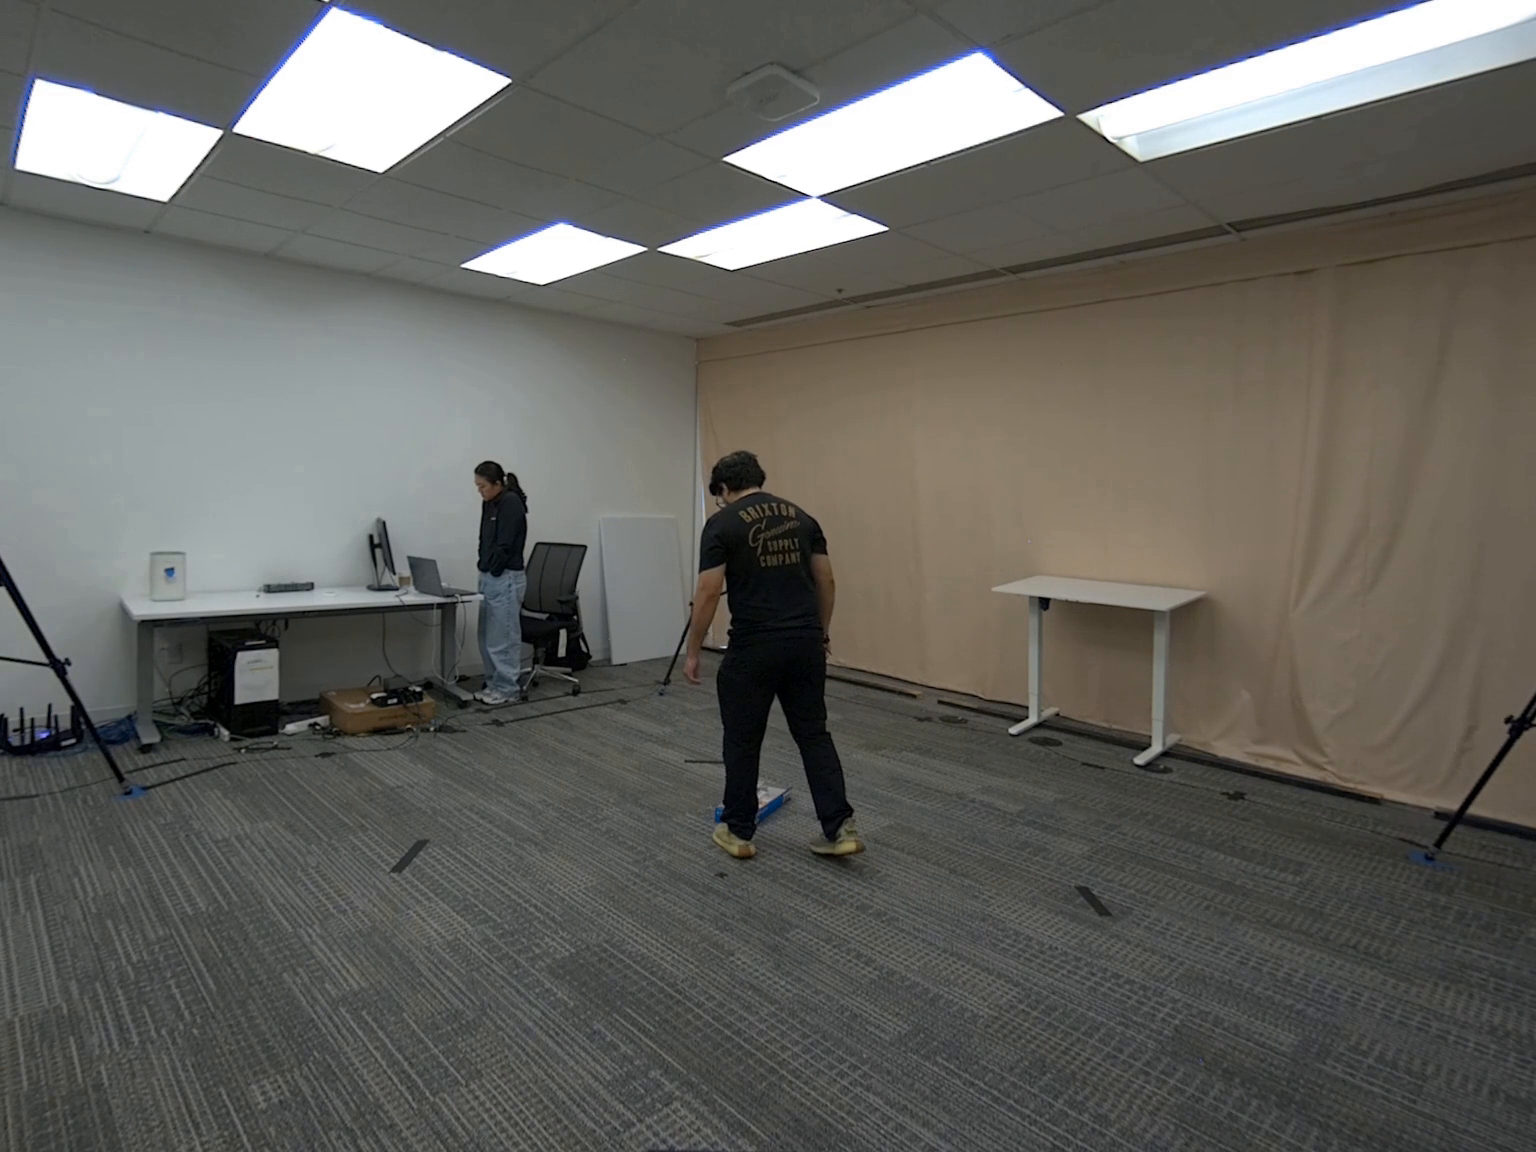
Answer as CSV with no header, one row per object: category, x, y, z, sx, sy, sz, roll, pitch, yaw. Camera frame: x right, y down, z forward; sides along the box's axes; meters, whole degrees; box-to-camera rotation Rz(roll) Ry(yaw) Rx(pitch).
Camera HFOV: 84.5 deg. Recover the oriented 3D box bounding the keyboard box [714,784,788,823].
keyboard box,-0.066,1.018,3.770,0.179,0.059,0.429,4,6,26
